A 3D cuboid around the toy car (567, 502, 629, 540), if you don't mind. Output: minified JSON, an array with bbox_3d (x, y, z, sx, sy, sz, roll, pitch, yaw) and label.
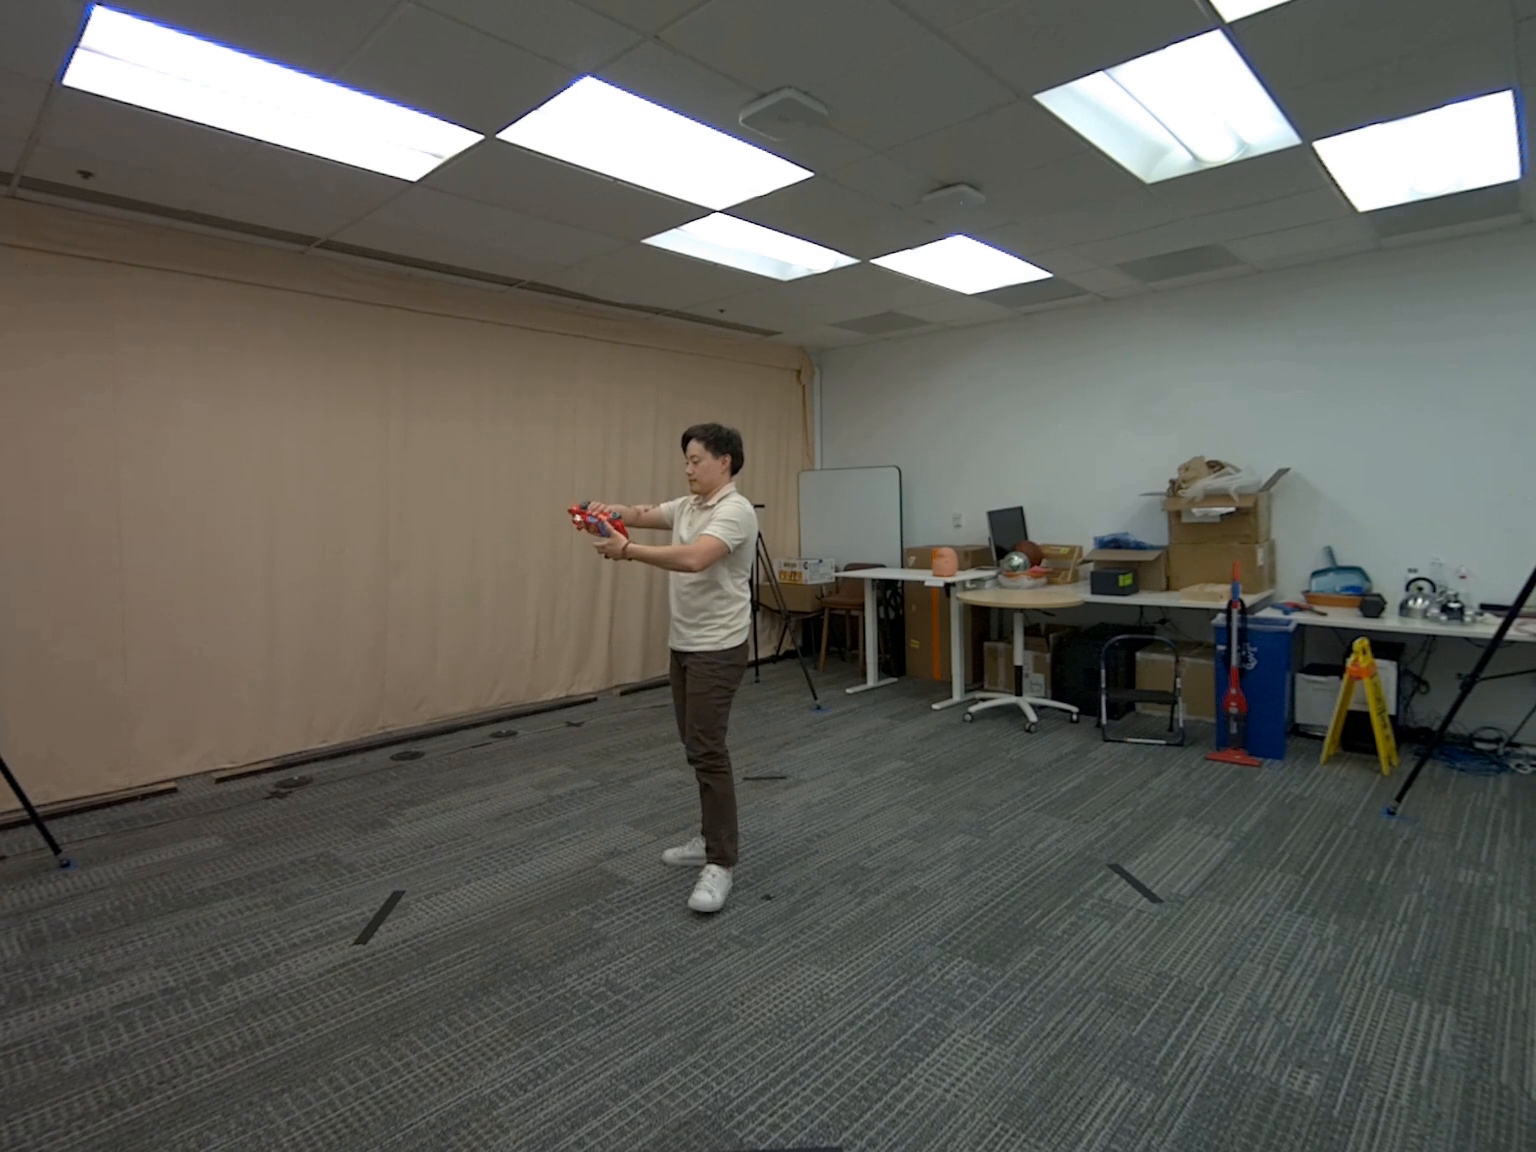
[{"bbox_3d":[-0.612,-0.193,3.041,0.262,0.127,0.083,11,47,25],"label":"toy car"}]
